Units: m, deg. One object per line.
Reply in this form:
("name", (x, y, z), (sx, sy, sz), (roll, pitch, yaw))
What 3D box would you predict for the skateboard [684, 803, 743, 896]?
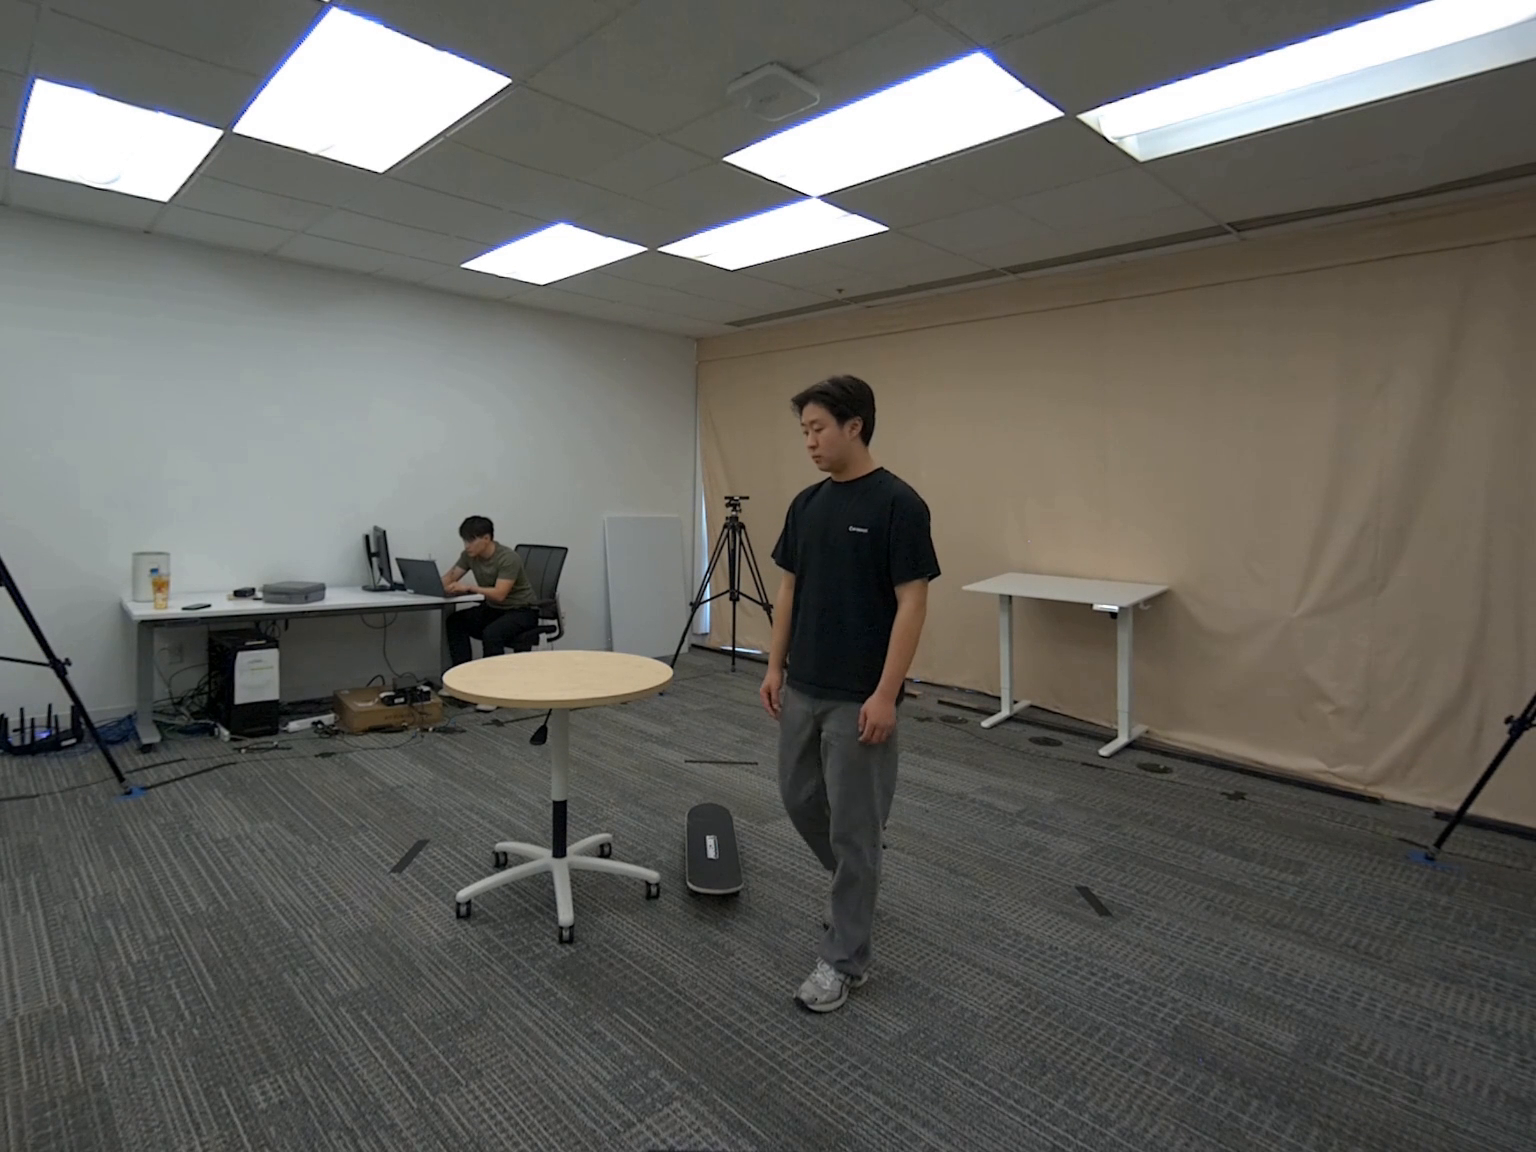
("skateboard", (-0.220, 1.042, 3.145), (0.193, 0.110, 0.791), (1, 6, -6))
